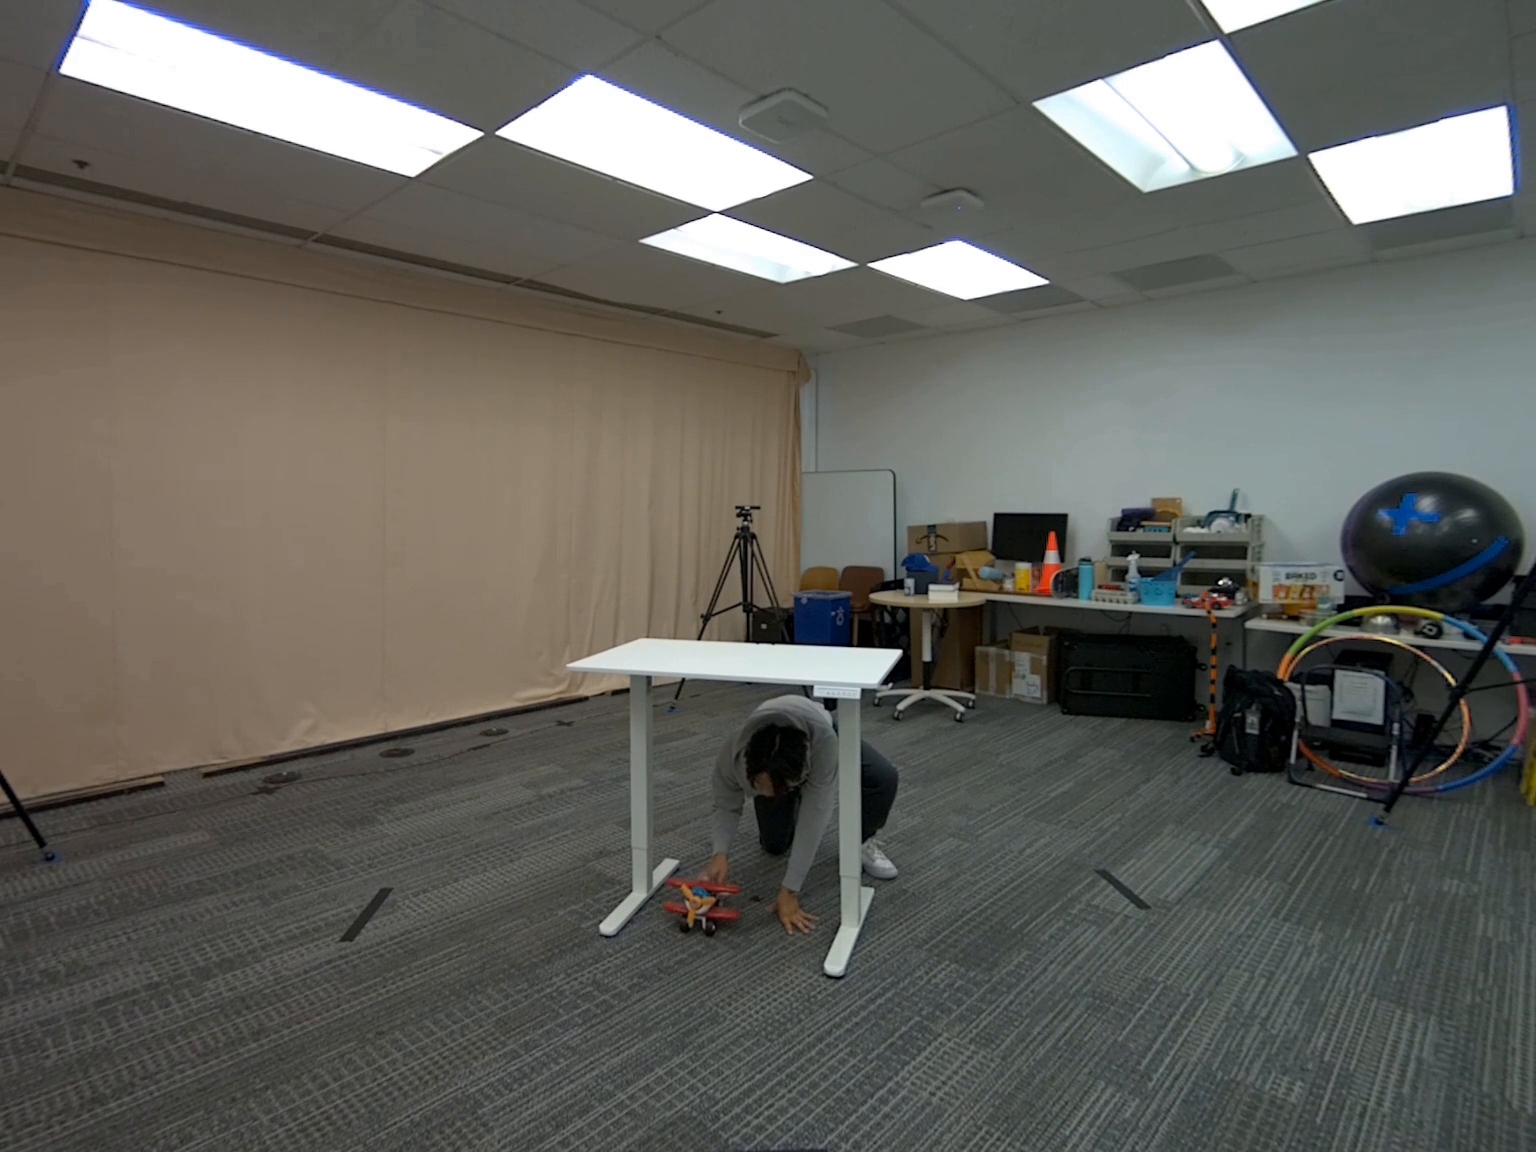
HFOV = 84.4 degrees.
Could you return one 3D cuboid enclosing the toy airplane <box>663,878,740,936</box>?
[{"bbox_3d":[-0.226,1.085,2.823,0.248,0.156,0.263,0,5,-13],"label":"toy airplane"}]
